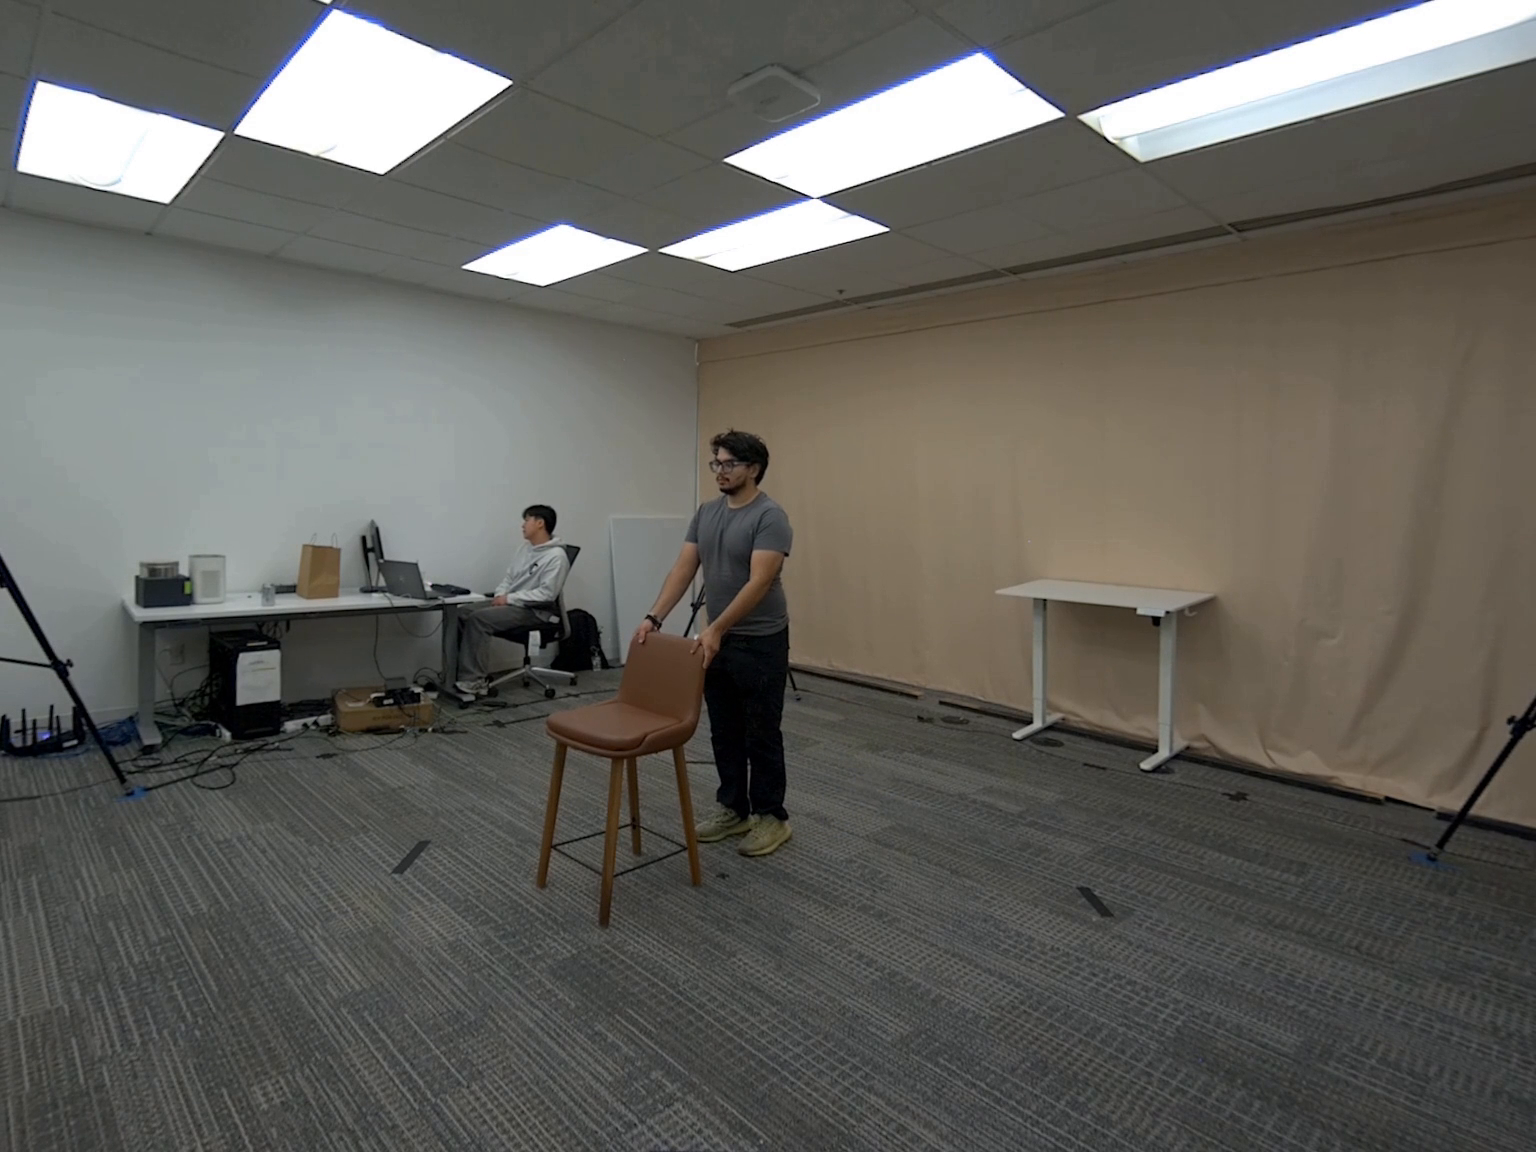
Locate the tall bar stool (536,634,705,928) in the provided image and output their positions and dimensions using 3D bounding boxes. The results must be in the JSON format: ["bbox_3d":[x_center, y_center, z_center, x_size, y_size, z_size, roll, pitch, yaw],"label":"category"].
[{"bbox_3d":[-0.512,0.671,2.987,0.468,0.889,0.456,4,2,44],"label":"tall bar stool"}]
